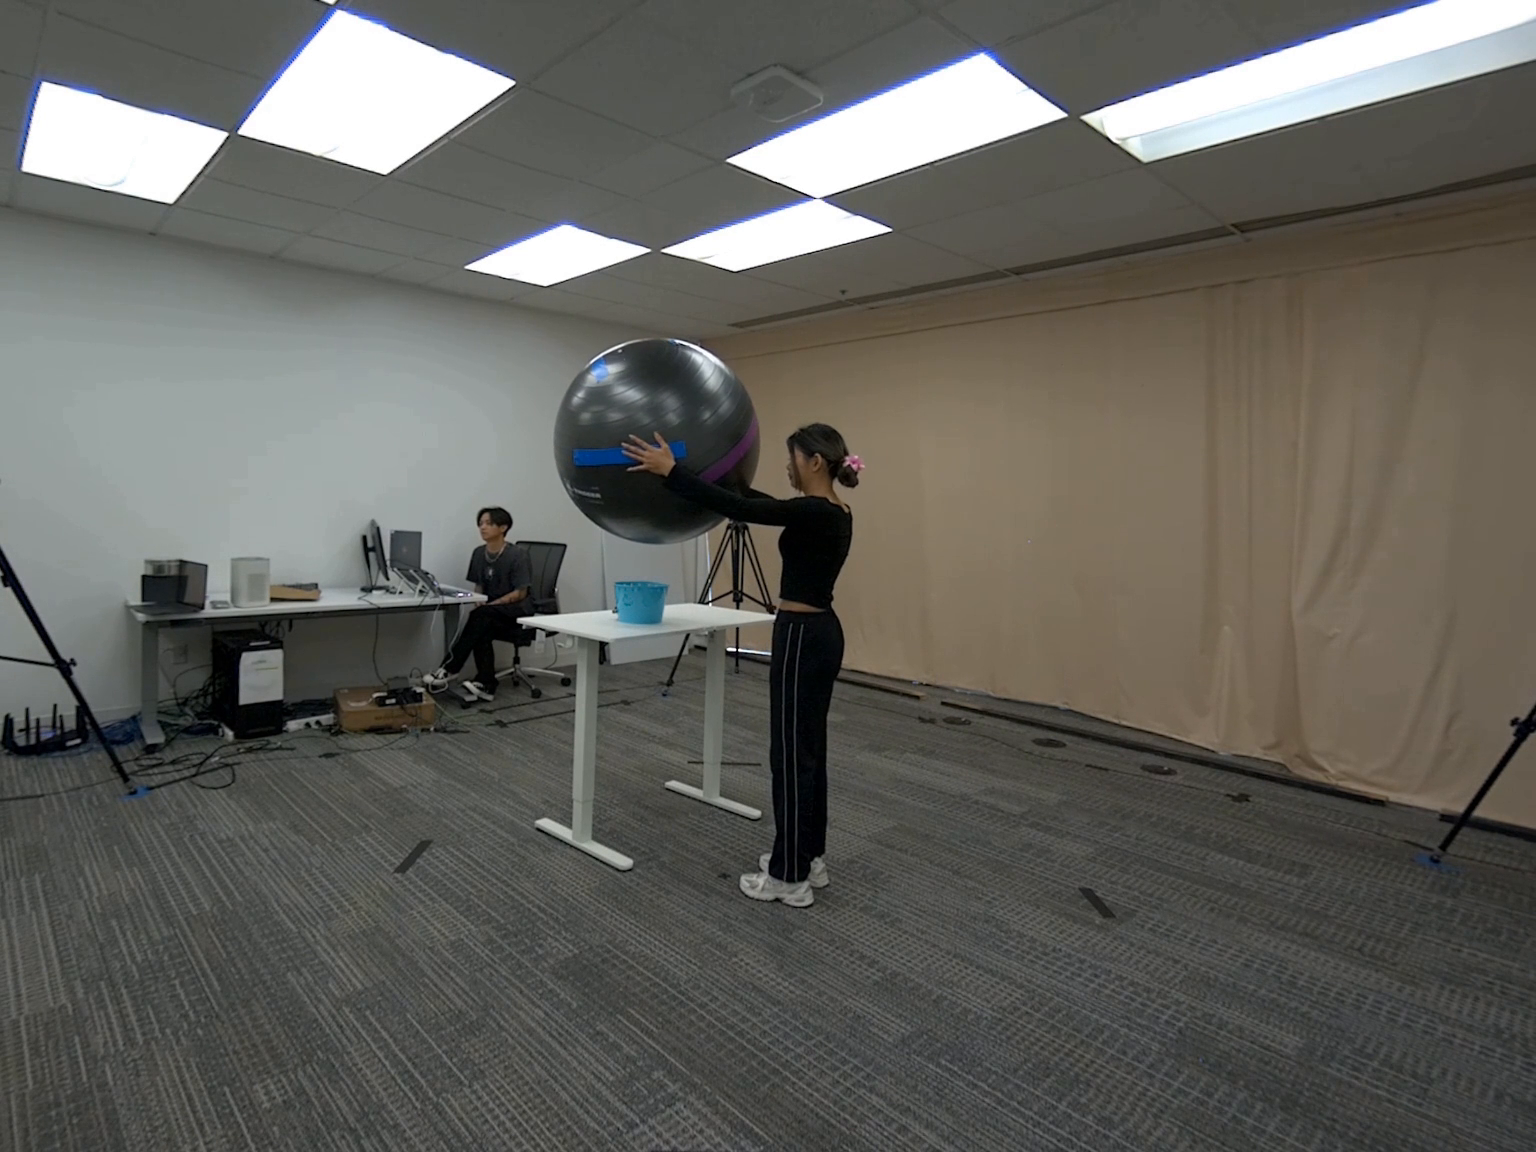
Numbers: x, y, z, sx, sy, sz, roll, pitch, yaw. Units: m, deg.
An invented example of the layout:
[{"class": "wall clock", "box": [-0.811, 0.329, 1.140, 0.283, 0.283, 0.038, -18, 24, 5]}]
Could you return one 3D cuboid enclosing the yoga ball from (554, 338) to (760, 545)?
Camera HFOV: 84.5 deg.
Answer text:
[{"class": "yoga ball", "box": [-0.417, -0.488, 3.129, 0.757, 0.756, 0.760, 1, 4, -1]}]
